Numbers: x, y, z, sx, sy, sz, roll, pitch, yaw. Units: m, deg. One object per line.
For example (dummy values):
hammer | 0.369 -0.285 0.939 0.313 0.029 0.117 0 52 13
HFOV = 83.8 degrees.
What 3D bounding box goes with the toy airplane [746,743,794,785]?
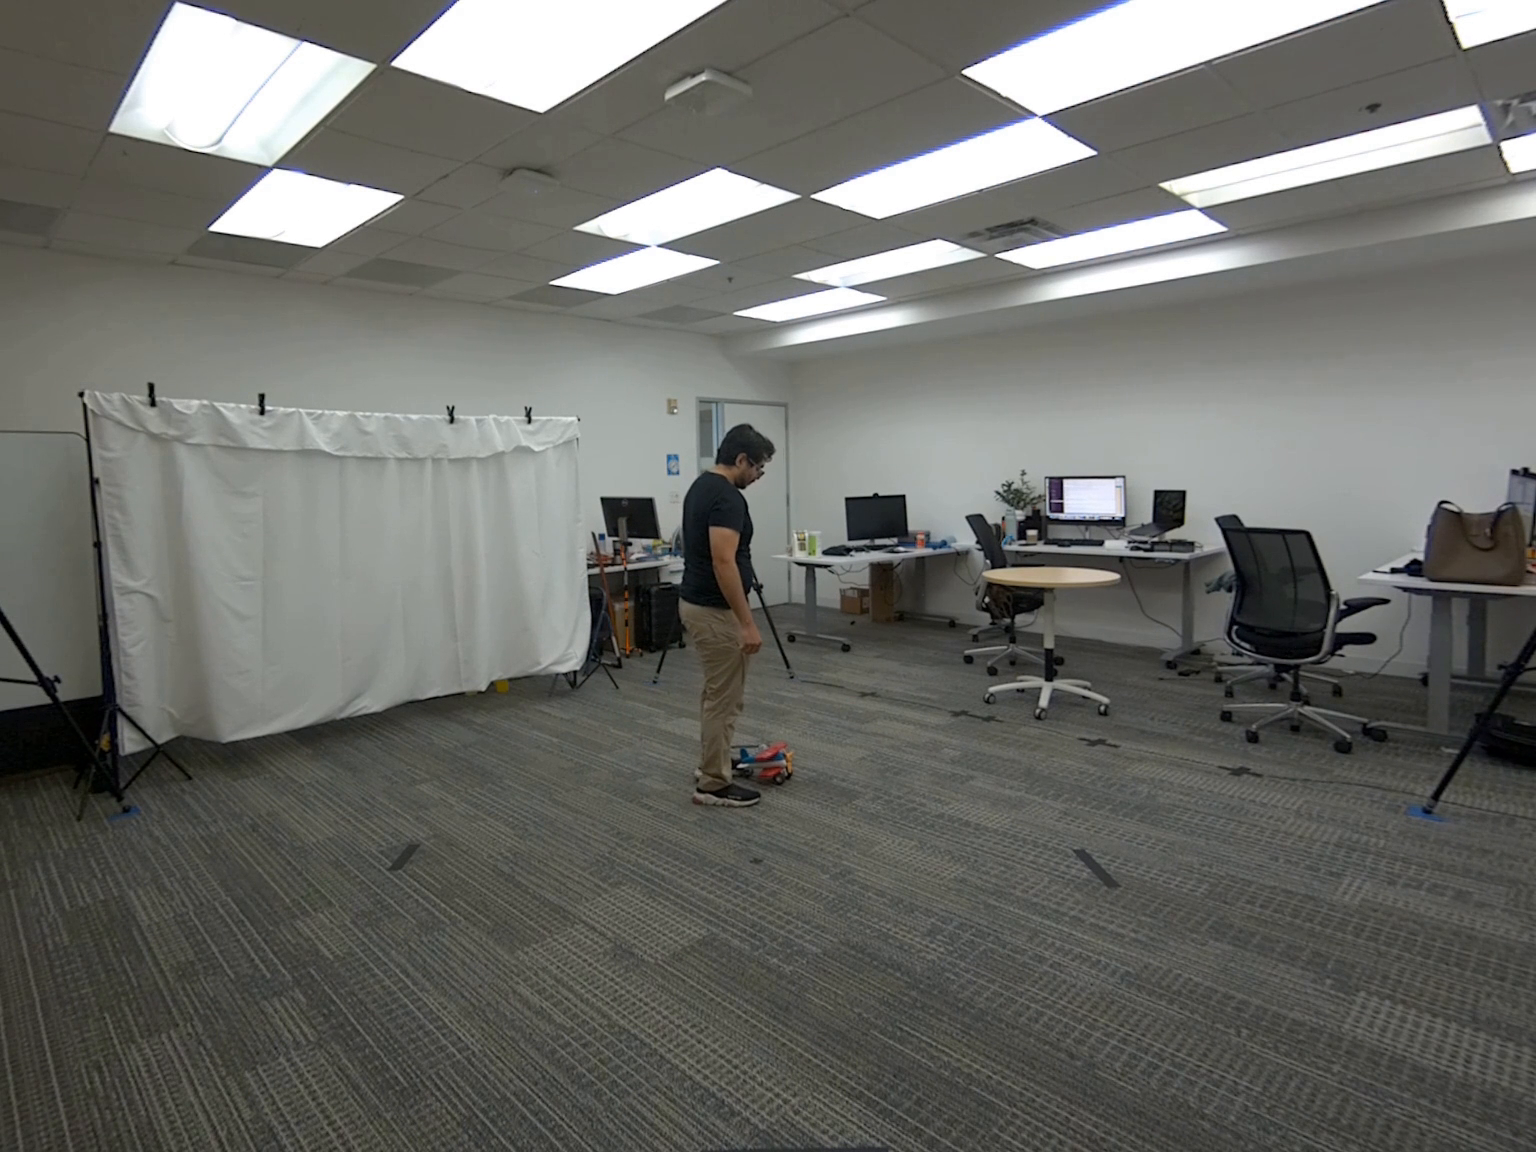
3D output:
toy airplane | -0.011 0.871 3.931 0.259 0.156 0.252 1 5 -3
